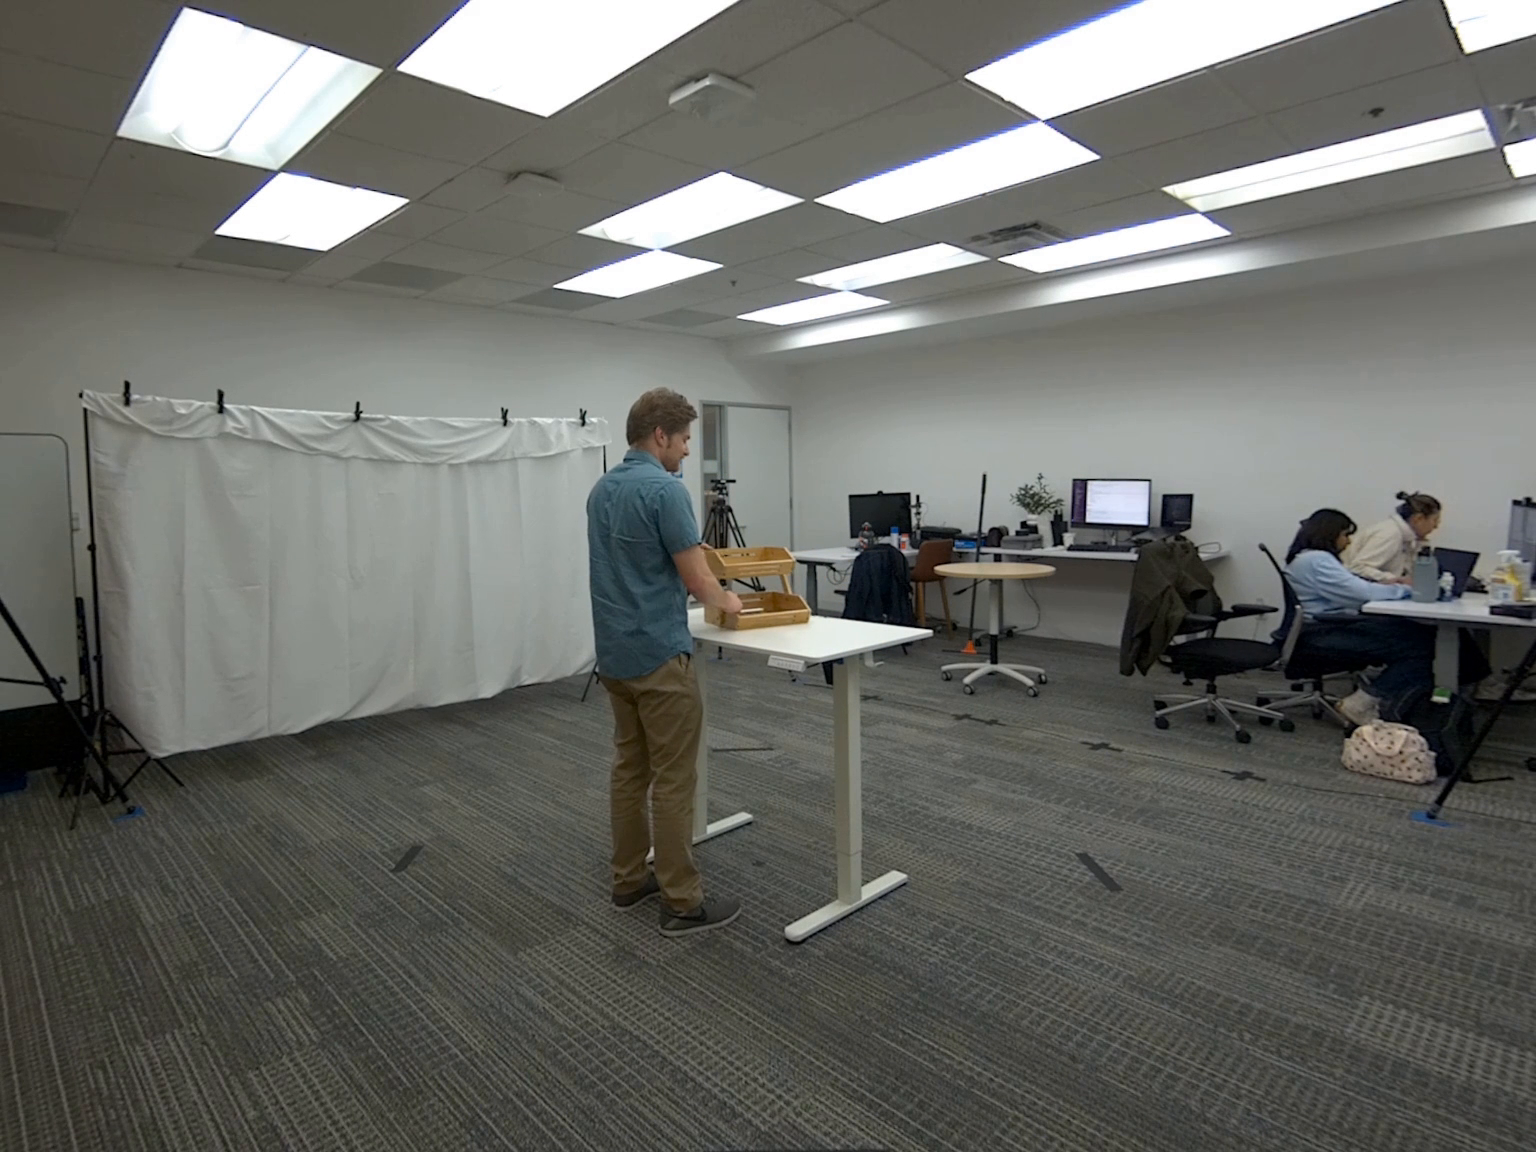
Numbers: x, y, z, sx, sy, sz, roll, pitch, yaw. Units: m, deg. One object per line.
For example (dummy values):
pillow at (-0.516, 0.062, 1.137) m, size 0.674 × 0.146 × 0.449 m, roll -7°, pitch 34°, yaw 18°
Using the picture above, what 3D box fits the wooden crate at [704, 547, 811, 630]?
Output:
wooden crate at (-0.049, 0.034, 3.094) m, size 0.317 × 0.272 × 0.310 m, roll -3°, pitch 4°, yaw -31°
